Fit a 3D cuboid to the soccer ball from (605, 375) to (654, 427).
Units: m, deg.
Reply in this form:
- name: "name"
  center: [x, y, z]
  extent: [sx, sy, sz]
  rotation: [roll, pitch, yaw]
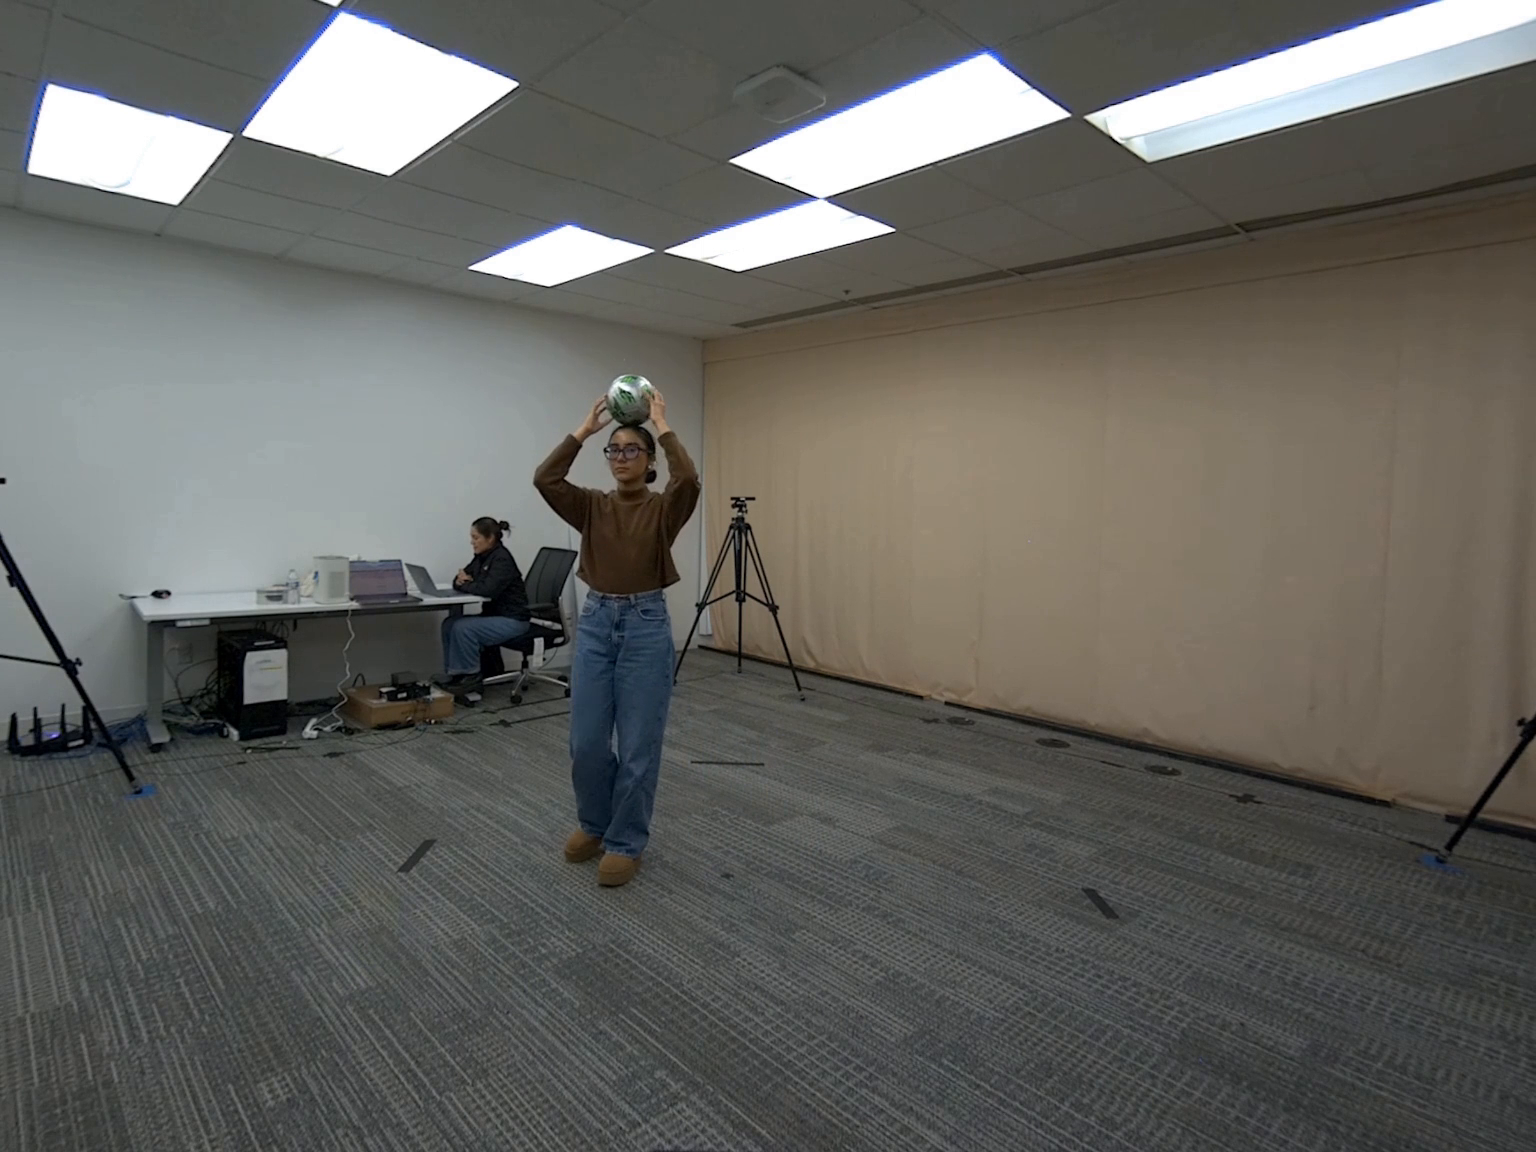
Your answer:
- name: "soccer ball"
  center: [-0.505, -0.643, 3.083]
  extent: [0.187, 0.187, 0.188]
  rotation: [1, 4, -1]
